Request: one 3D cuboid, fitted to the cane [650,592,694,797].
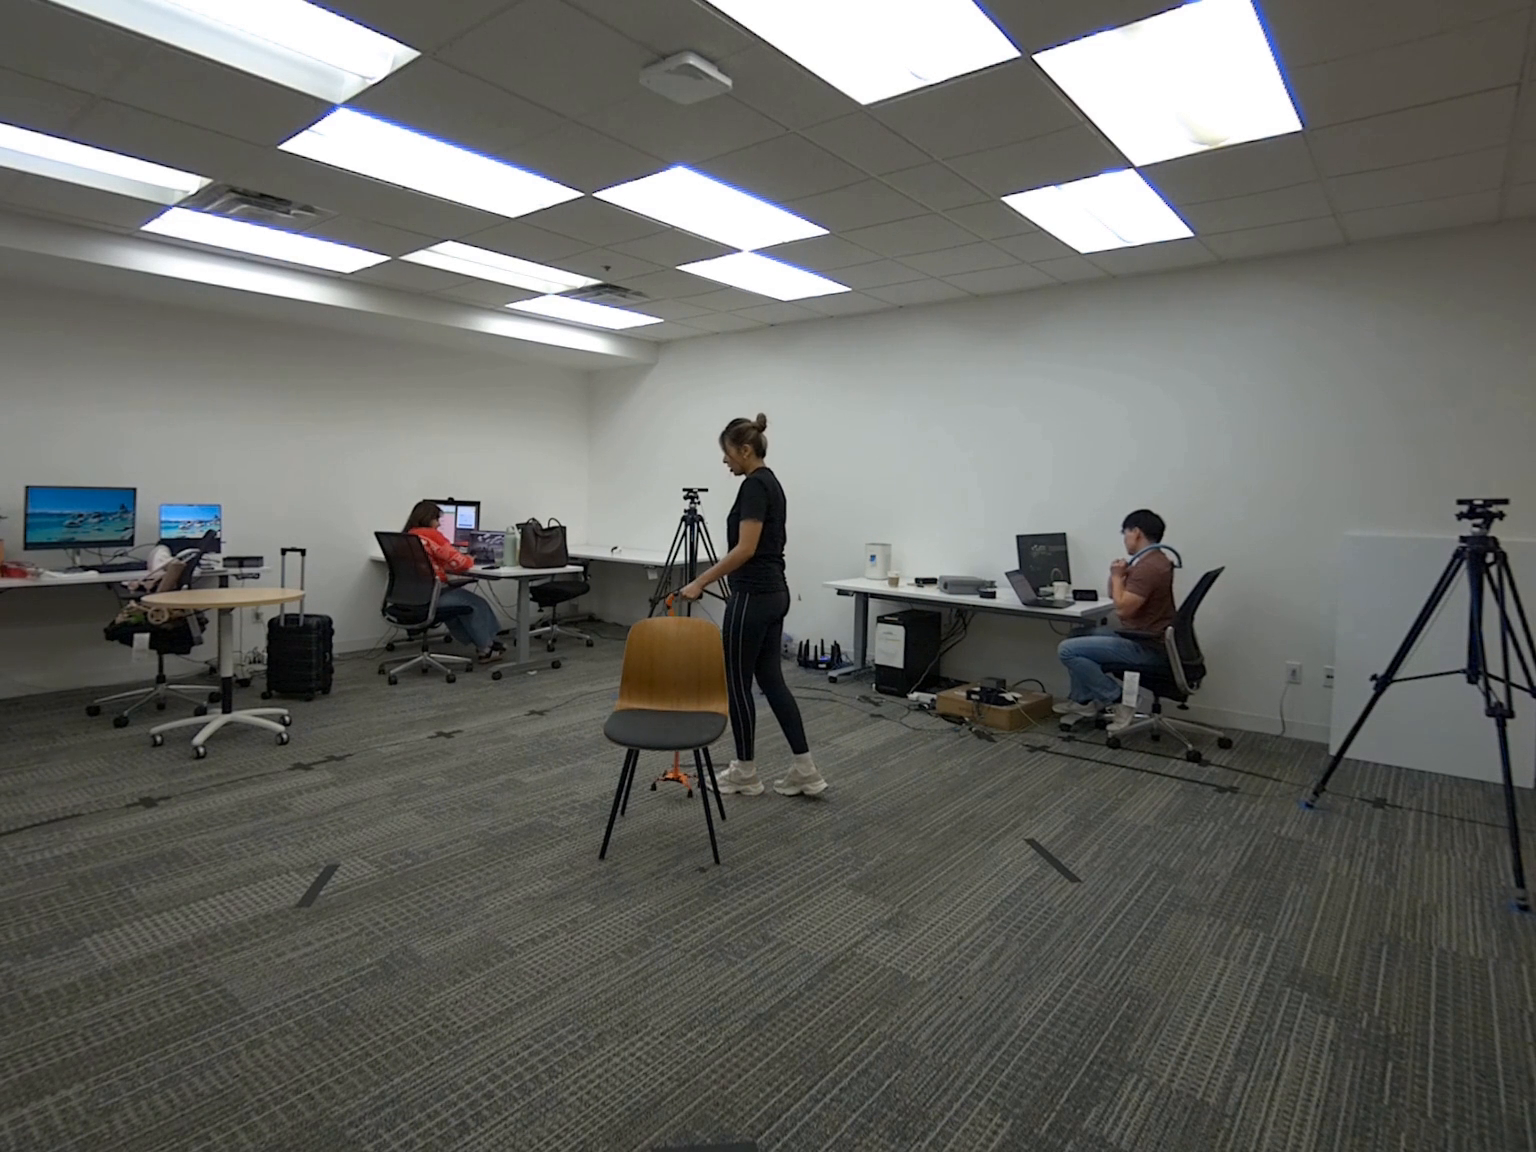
[{"bbox_3d":[-0.401,0.515,3.789,0.210,0.903,0.149,4,5,17],"label":"cane"}]
